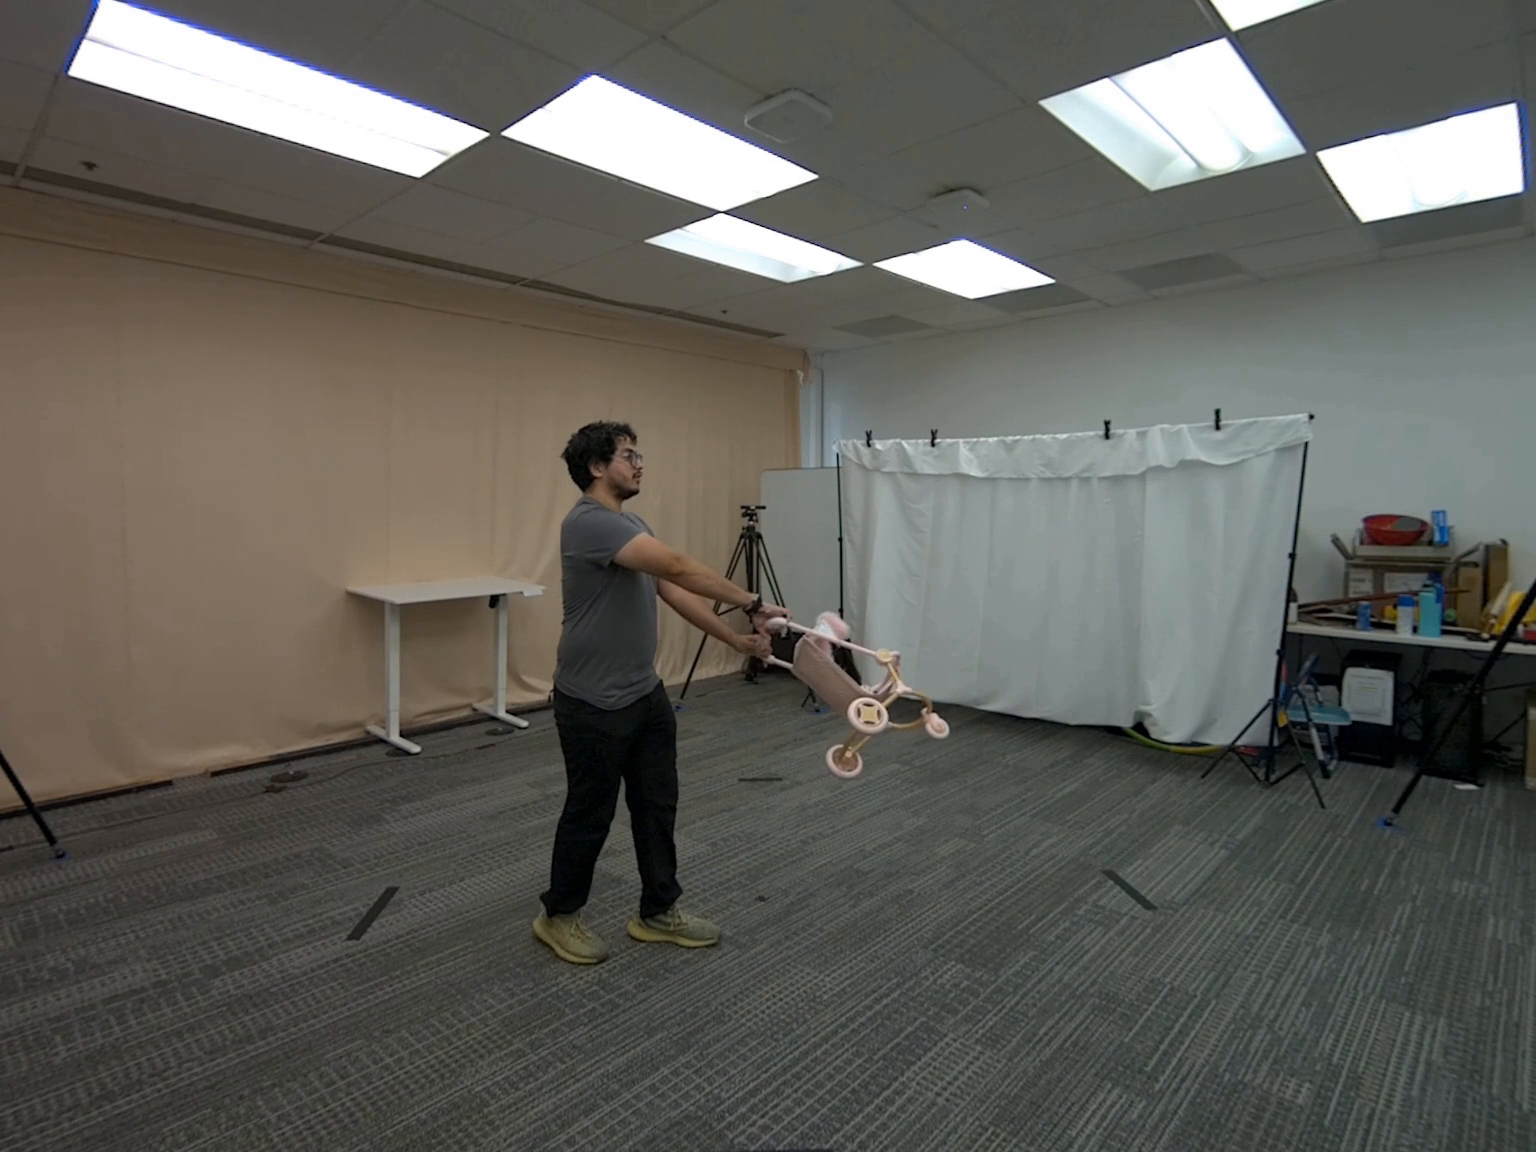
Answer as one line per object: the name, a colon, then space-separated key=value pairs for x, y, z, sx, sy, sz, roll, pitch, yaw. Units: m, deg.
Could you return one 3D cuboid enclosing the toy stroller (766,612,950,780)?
toy stroller: x=0.259 y=0.317 z=2.466 sx=0.335 sy=0.277 sz=0.552 roll=-22 pitch=55 yaw=-24
